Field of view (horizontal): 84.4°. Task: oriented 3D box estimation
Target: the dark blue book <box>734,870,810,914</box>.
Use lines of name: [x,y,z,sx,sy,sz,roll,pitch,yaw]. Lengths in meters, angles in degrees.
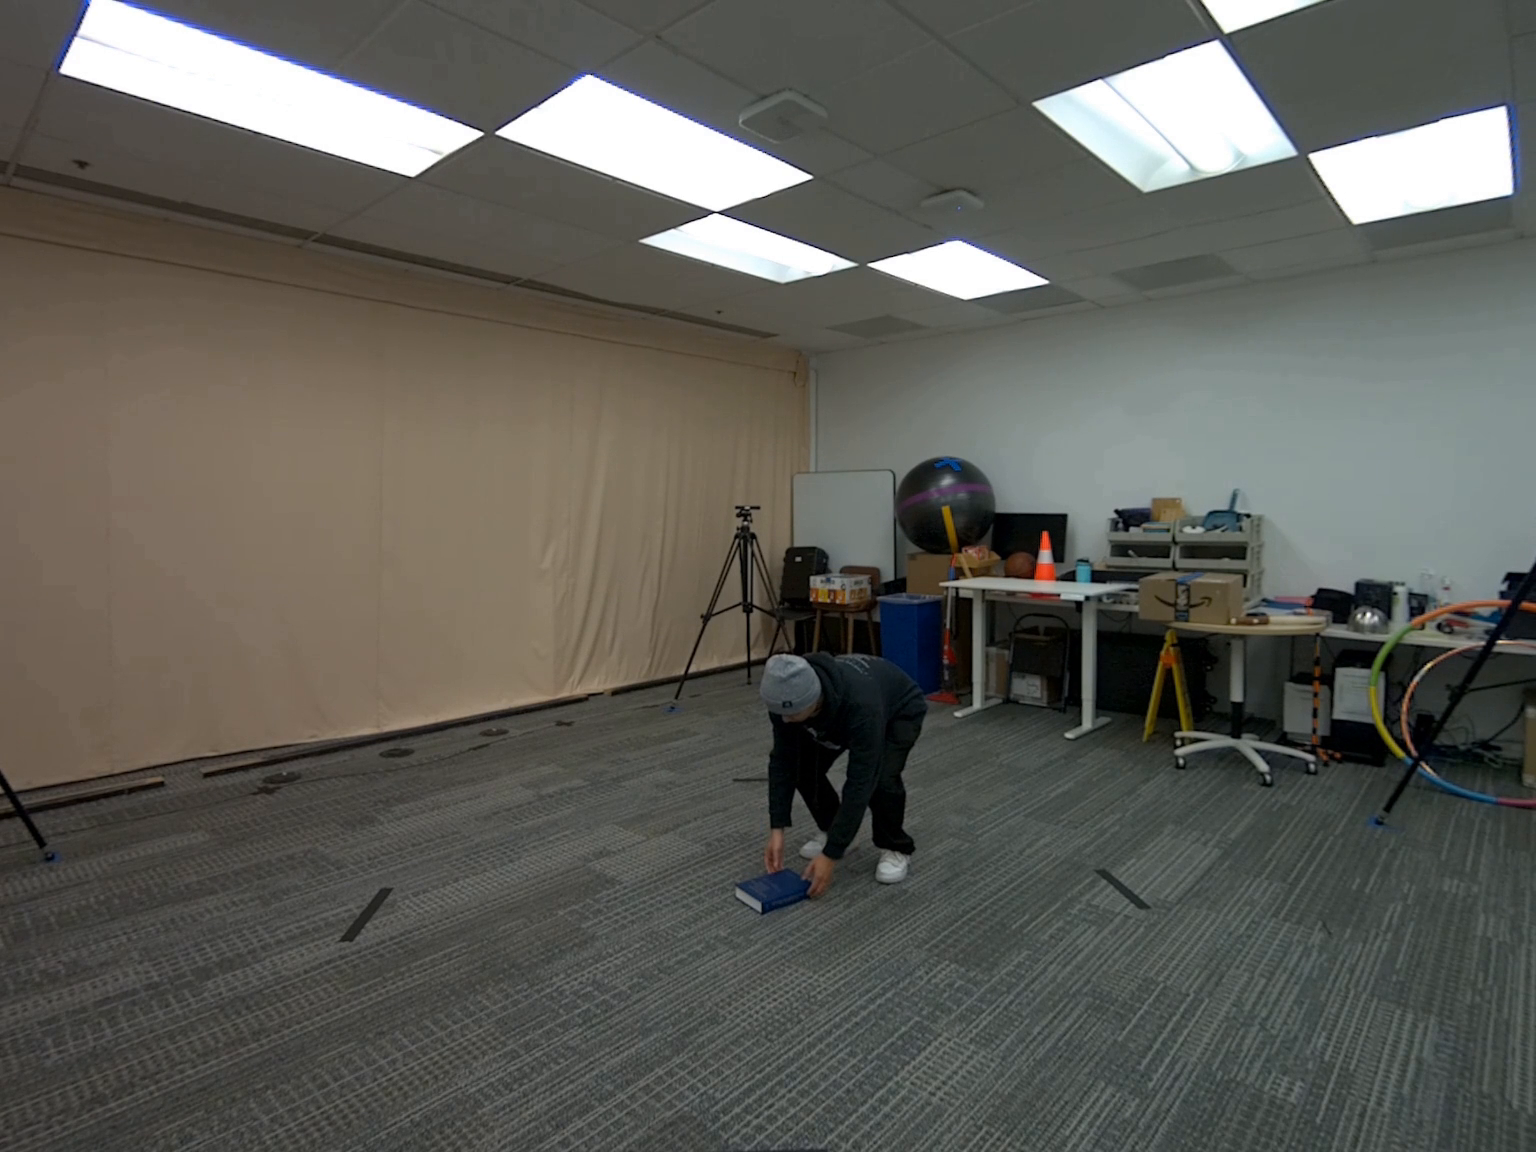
dark blue book: [0.022,1.123,2.993,0.238,0.045,0.168,-3,5,-36]
